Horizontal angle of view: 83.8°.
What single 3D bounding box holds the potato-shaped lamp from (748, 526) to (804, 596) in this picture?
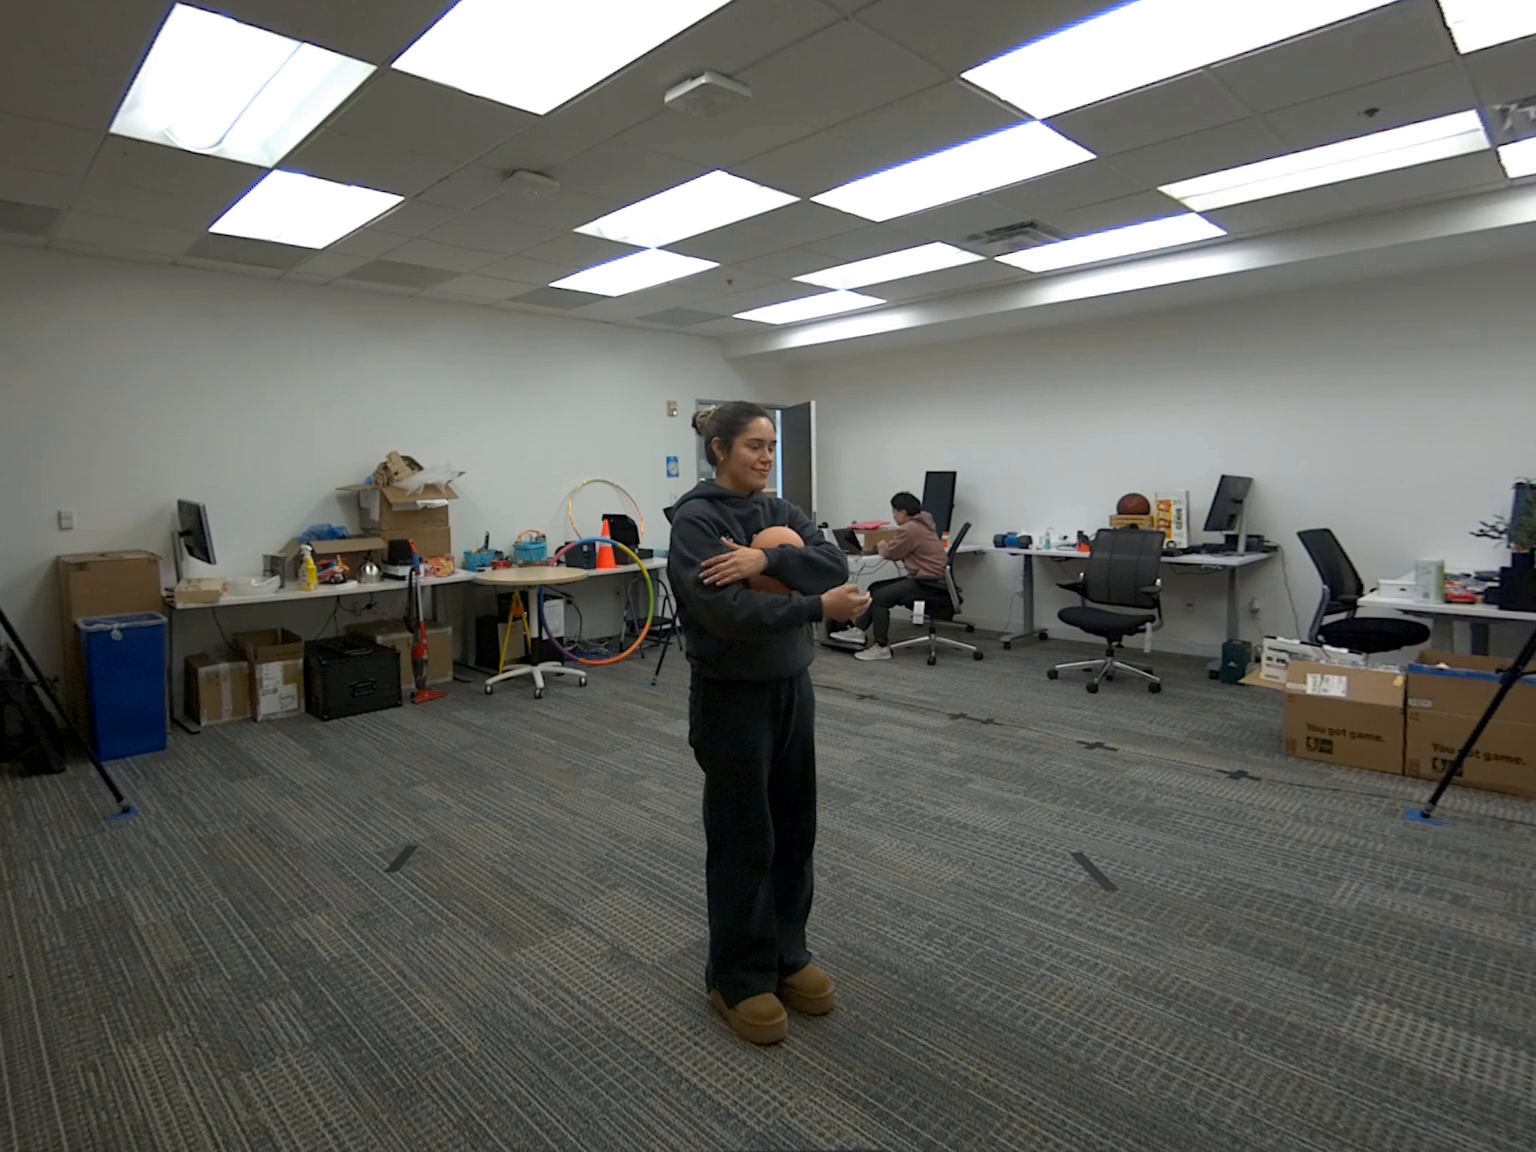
[{"bbox_3d":[0.024,-0.037,2.200,0.174,0.166,0.193,20,-37,13],"label":"potato-shaped lamp"}]
